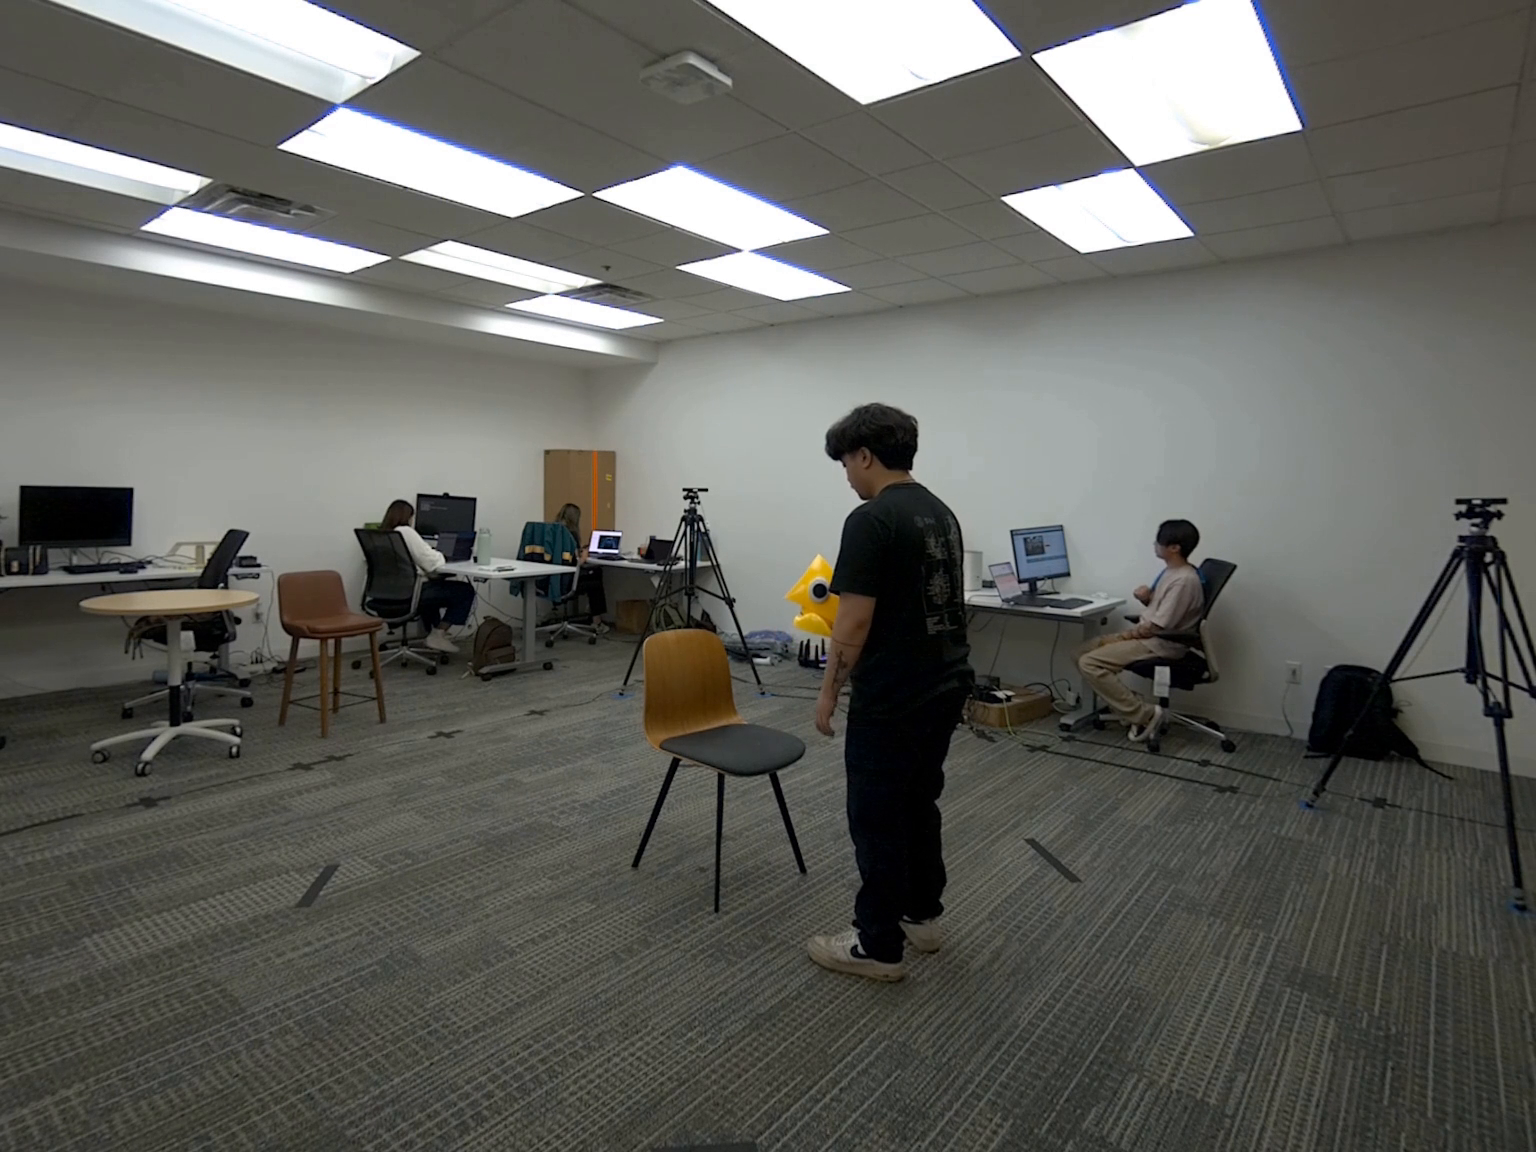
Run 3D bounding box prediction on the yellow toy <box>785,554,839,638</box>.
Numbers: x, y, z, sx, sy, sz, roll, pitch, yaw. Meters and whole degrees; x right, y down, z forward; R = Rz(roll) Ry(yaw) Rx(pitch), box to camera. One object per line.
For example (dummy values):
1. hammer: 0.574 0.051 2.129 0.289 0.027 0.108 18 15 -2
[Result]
1. yellow toy: 0.184 0.054 2.739 0.200 0.229 0.198 16 10 36
